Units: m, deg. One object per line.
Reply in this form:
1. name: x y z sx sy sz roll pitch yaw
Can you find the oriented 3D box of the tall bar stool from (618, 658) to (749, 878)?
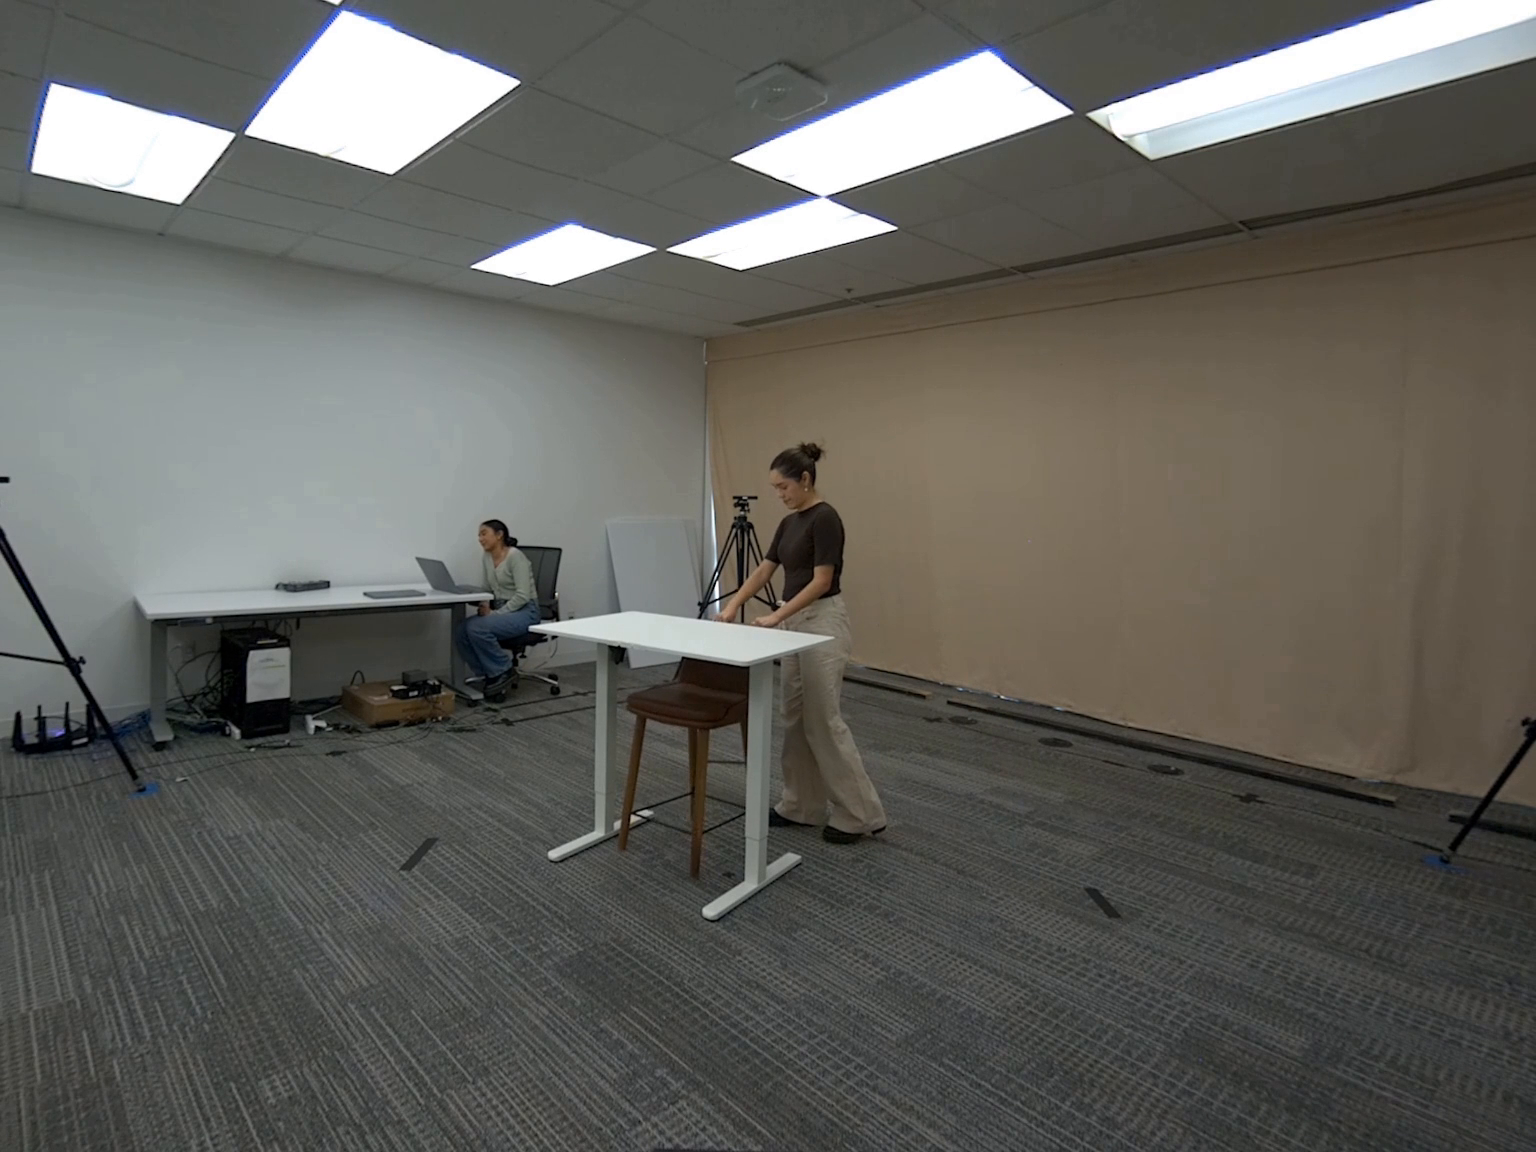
1. tall bar stool: -0.289 0.647 3.346 0.467 0.890 0.456 3 0 36
